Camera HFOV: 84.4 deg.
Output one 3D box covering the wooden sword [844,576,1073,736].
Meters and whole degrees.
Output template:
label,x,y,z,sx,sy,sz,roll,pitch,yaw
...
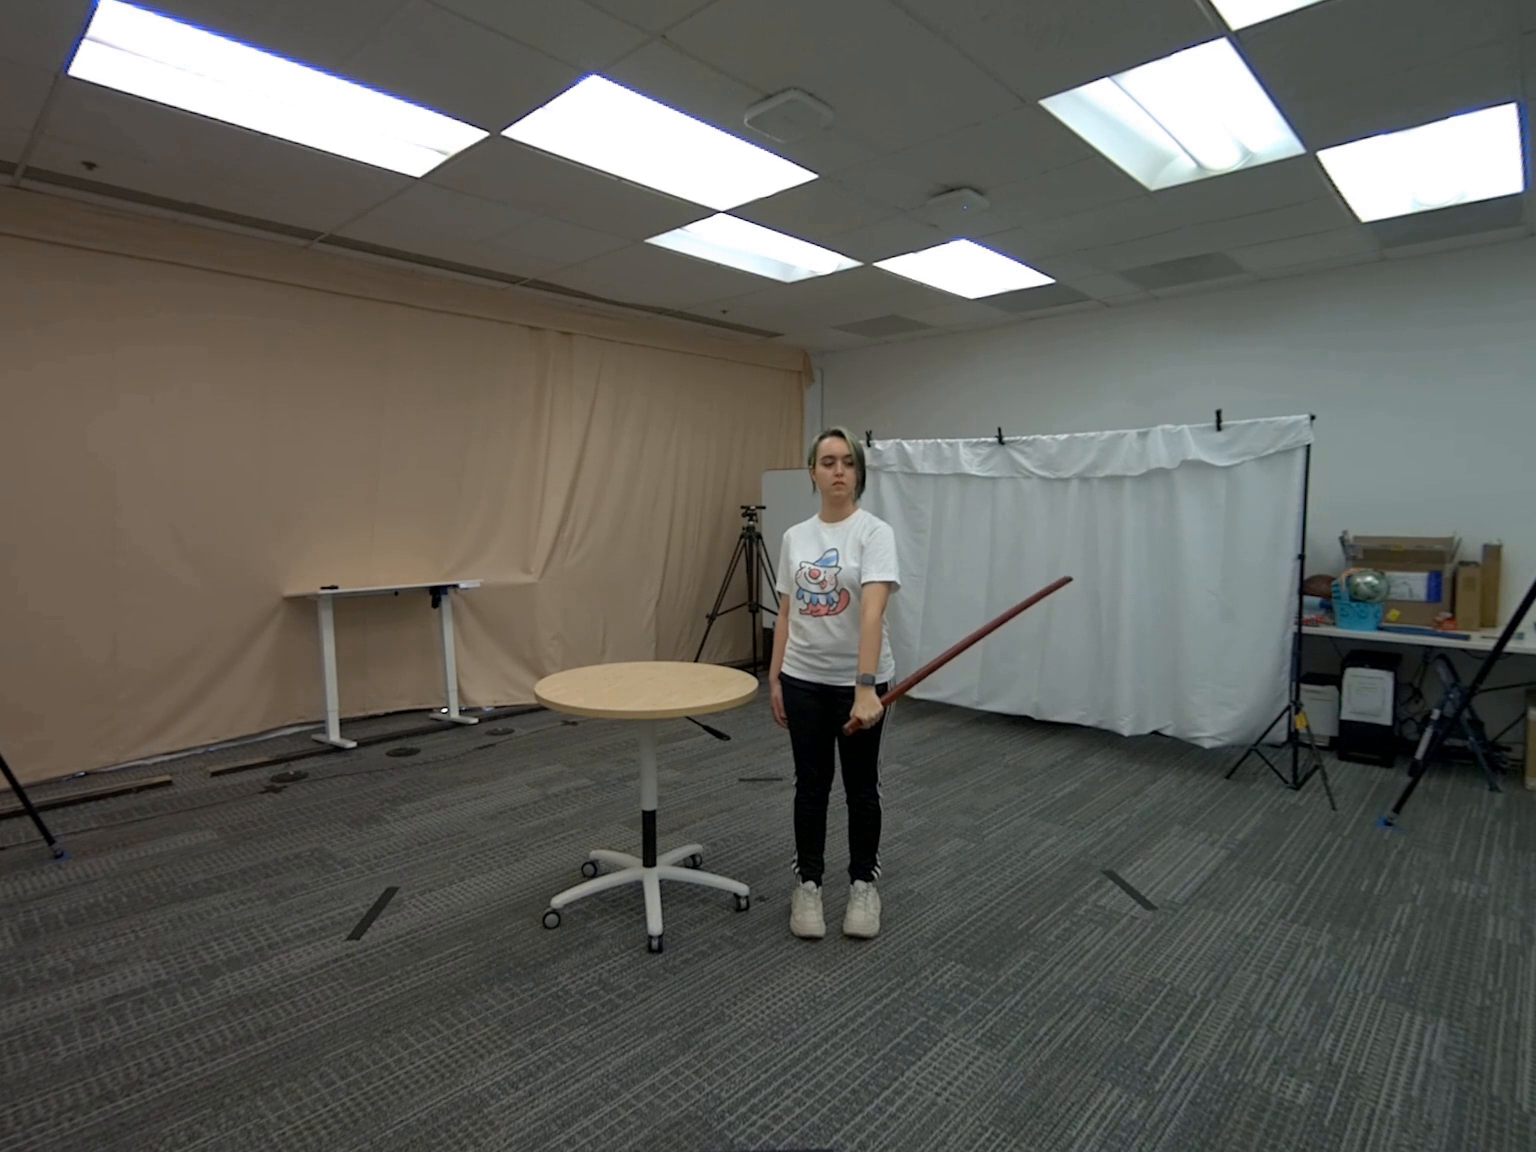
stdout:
label,x,y,z,sx,sy,sz,roll,pitch,yaw
wooden sword,0.648,0.208,2.631,1.009,0.051,0.024,-29,4,-27
